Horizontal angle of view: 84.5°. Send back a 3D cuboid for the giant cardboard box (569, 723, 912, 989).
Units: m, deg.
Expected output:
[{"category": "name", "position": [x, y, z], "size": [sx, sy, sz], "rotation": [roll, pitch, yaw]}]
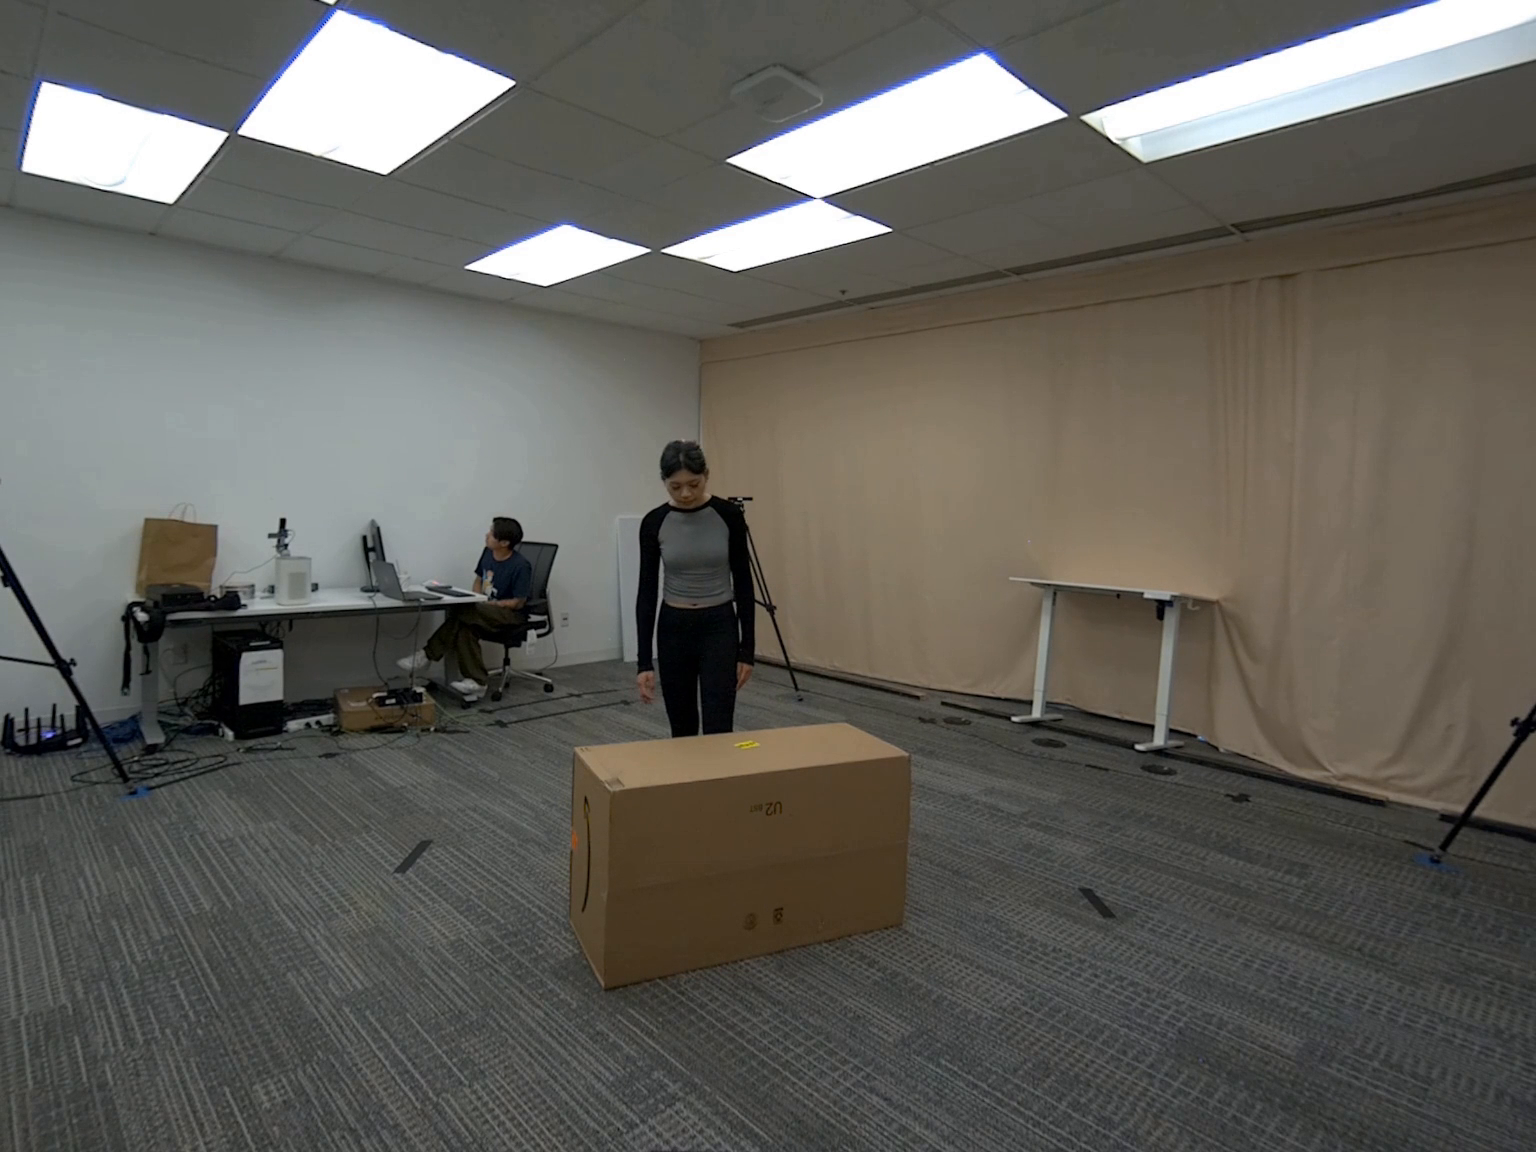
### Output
[{"category": "giant cardboard box", "position": [-0.091, 0.853, 2.742], "size": [1.008, 0.576, 0.435], "rotation": [0, 4, -25]}]
